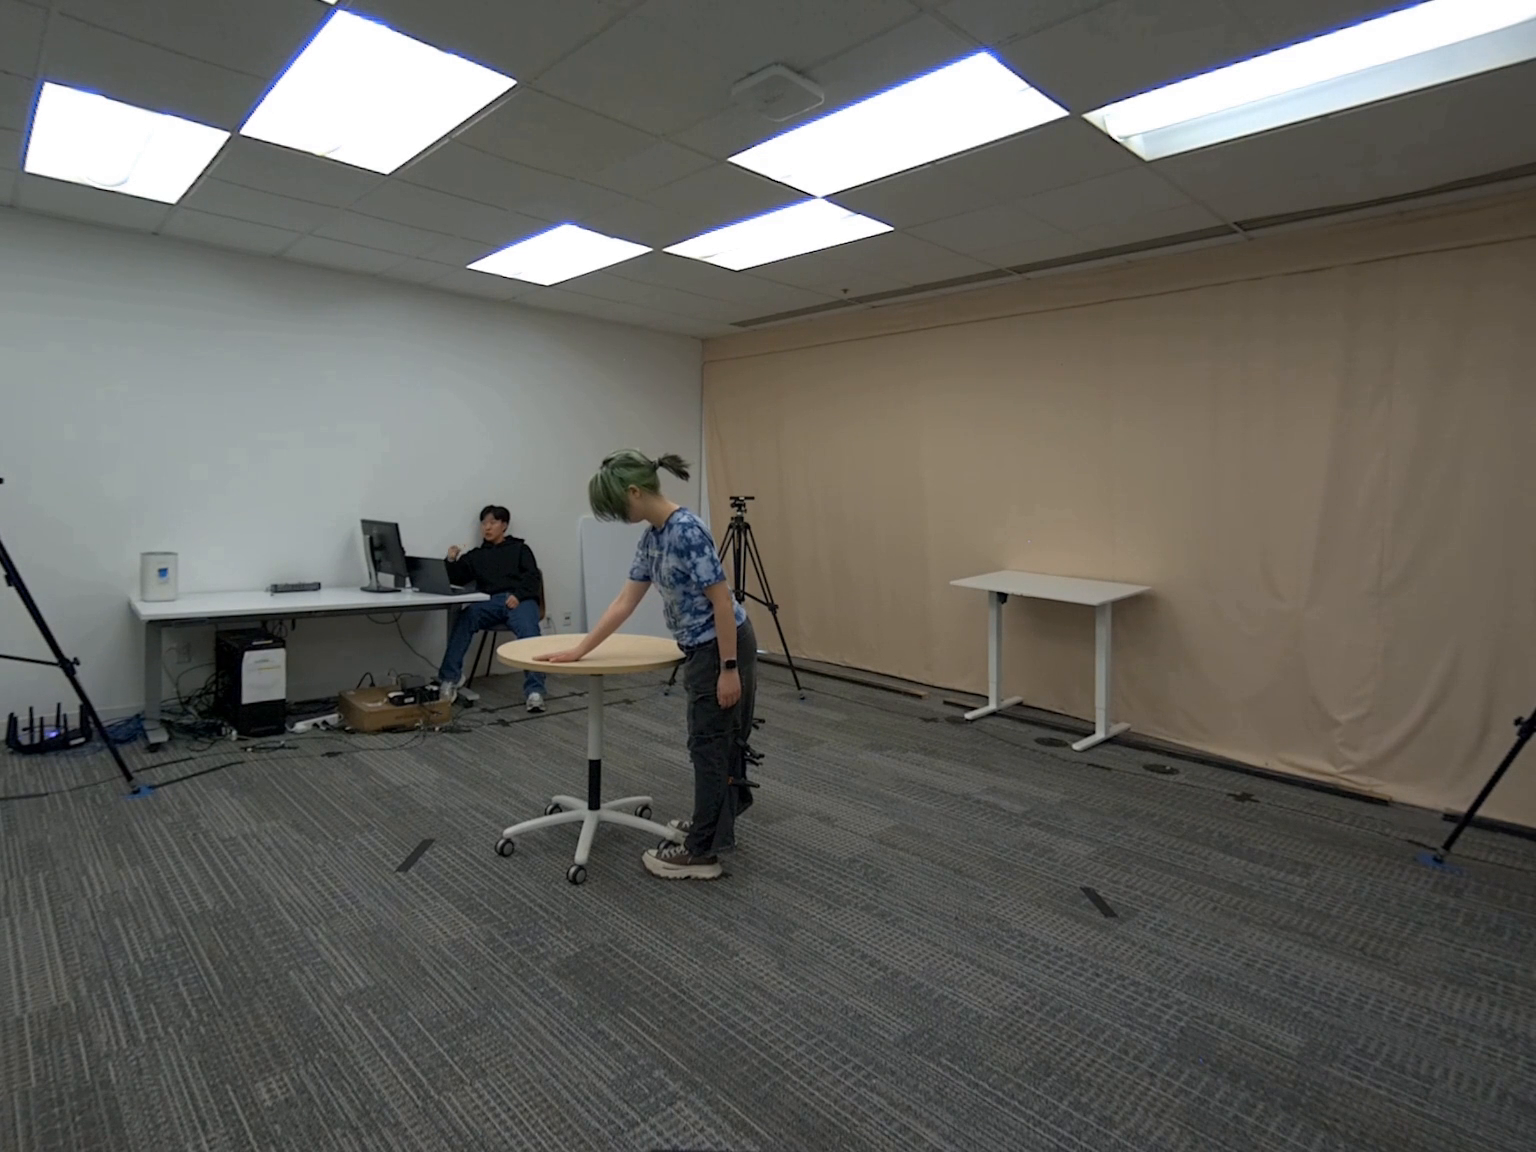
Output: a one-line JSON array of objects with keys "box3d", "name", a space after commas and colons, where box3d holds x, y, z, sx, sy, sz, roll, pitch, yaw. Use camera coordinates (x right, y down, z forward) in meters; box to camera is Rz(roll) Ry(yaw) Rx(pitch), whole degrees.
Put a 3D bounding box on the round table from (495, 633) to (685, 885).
[{"box3d": [-0.680, 0.674, 3.351, 0.784, 0.784, 0.788, 1, 4, -1], "name": "round table"}]
